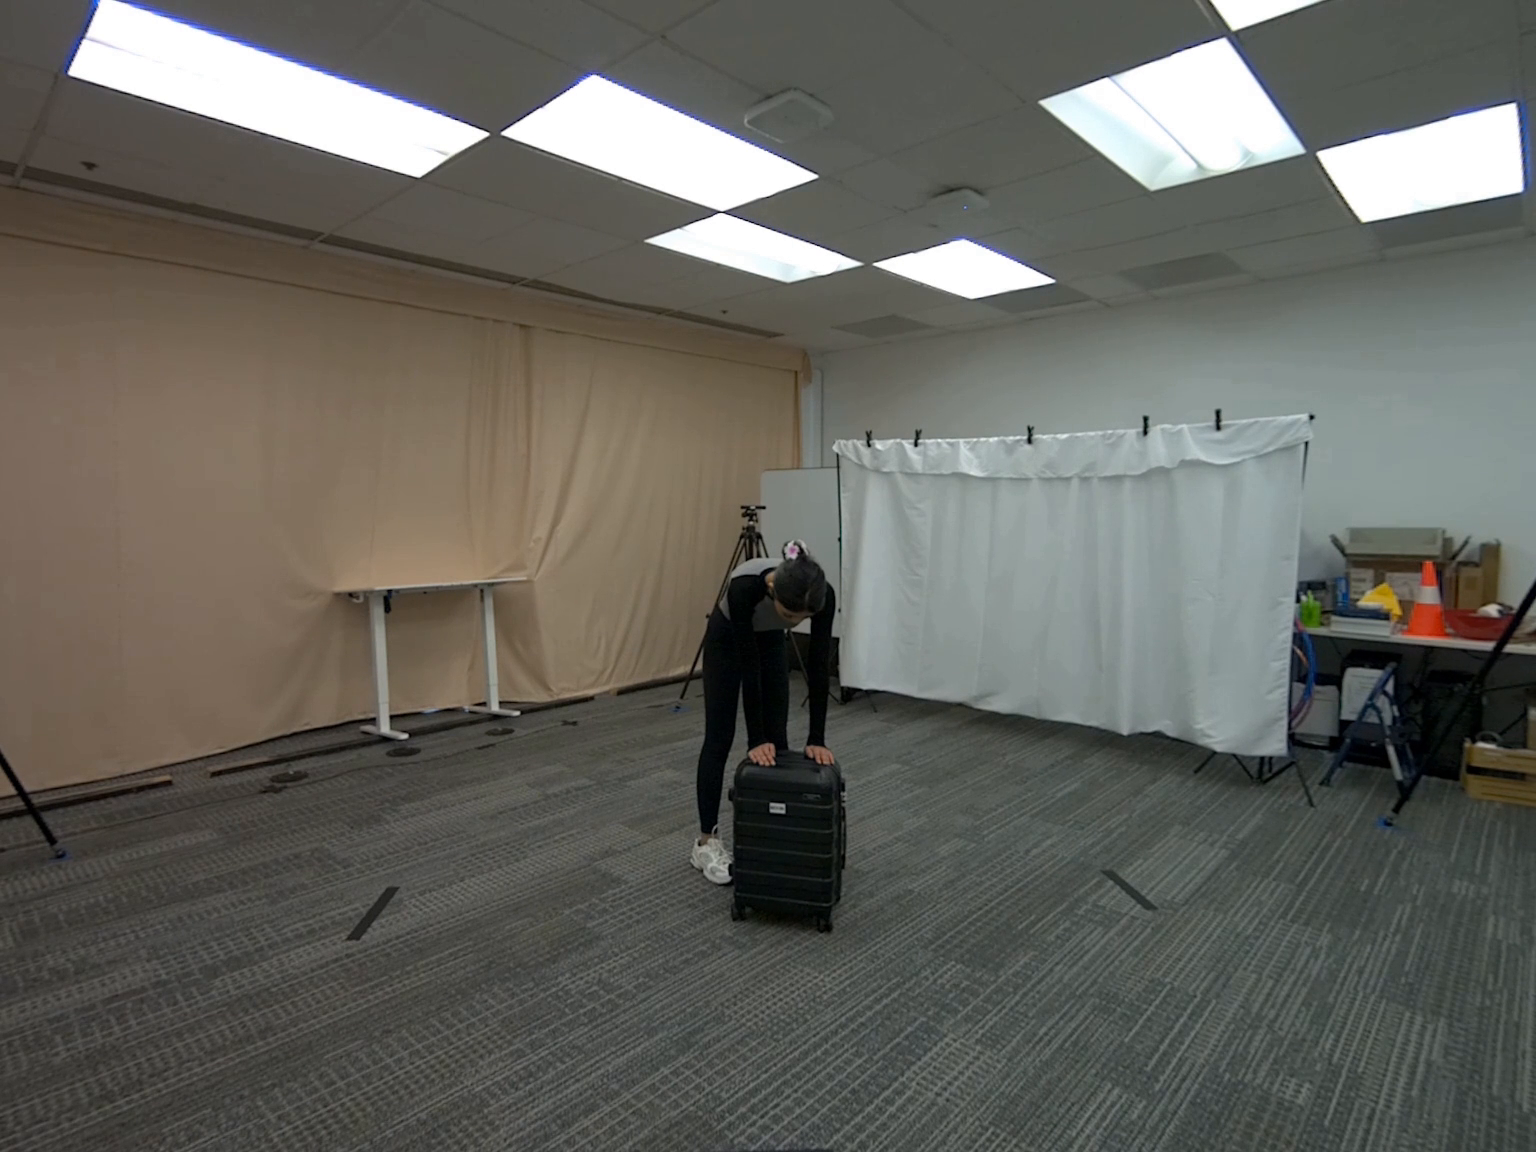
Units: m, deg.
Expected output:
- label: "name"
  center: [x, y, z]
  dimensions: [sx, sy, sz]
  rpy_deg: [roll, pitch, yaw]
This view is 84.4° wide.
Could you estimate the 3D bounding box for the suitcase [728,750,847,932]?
- label: "suitcase"
  center: [0.074, 0.880, 2.866]
  dimensions: [0.382, 0.547, 0.245]
  rpy_deg: [1, 5, 16]
